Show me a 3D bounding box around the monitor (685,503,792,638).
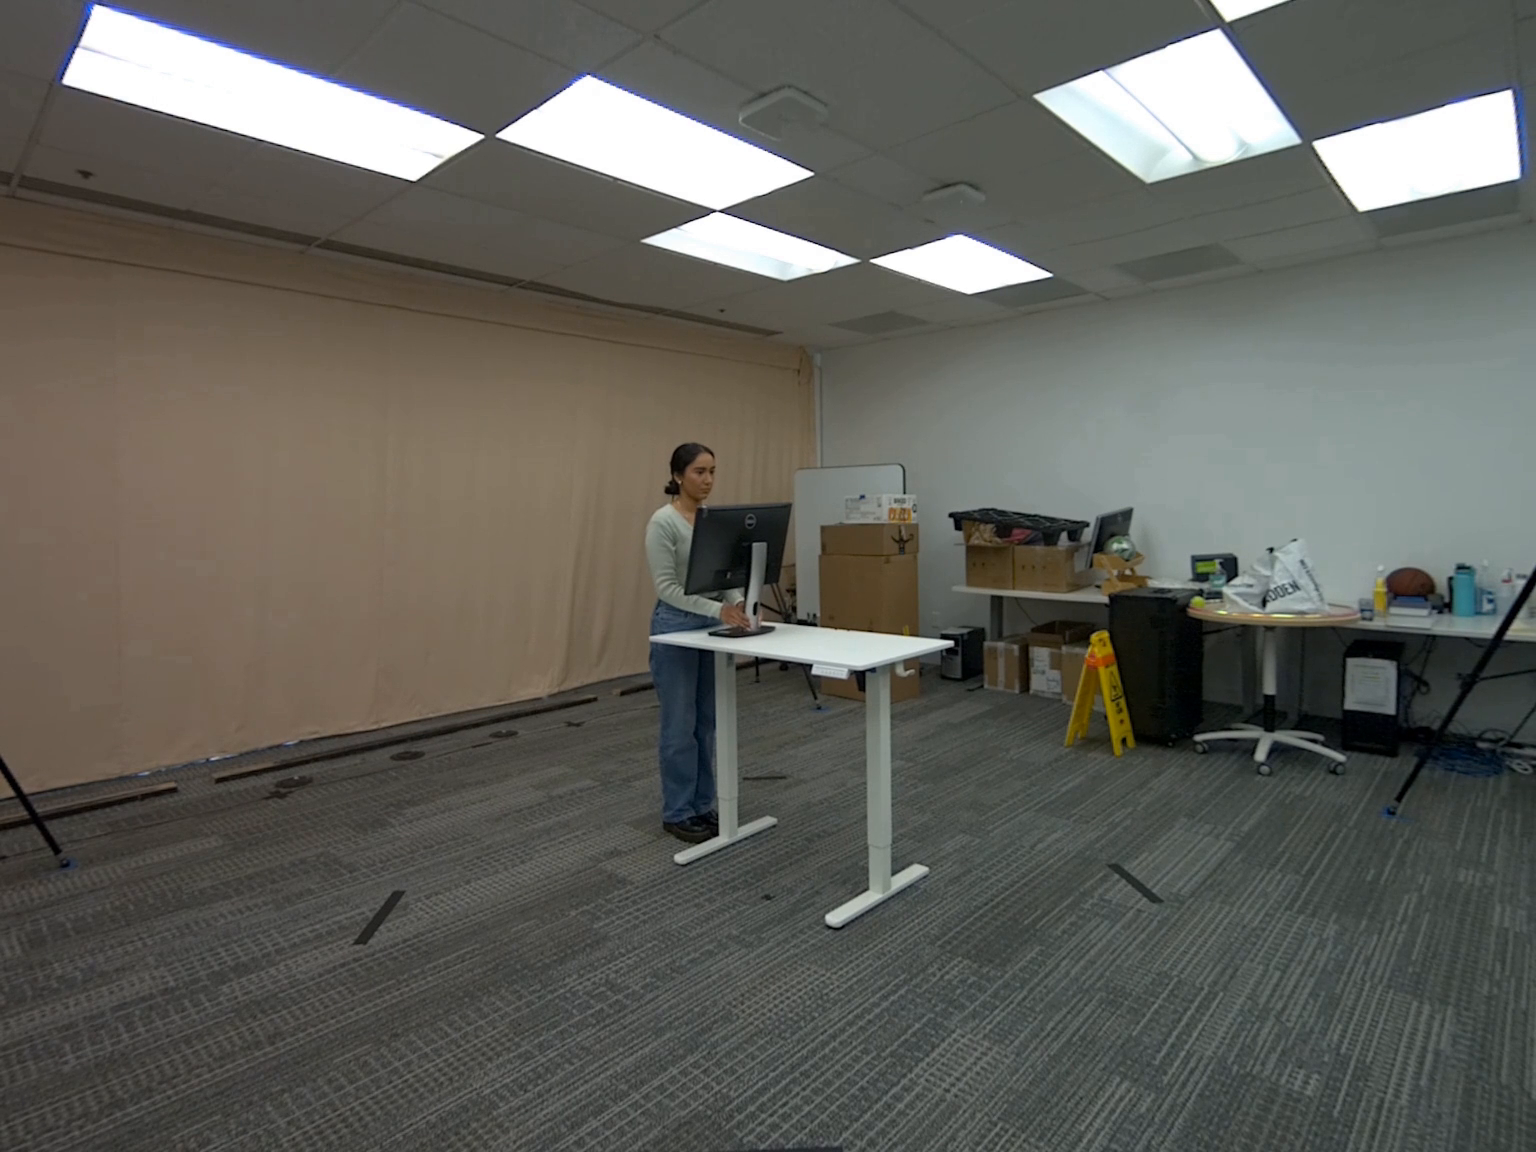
[{"bbox_3d":[-0.090,-0.022,3.348,0.193,0.520,0.523,6,9,43],"label":"monitor"}]
